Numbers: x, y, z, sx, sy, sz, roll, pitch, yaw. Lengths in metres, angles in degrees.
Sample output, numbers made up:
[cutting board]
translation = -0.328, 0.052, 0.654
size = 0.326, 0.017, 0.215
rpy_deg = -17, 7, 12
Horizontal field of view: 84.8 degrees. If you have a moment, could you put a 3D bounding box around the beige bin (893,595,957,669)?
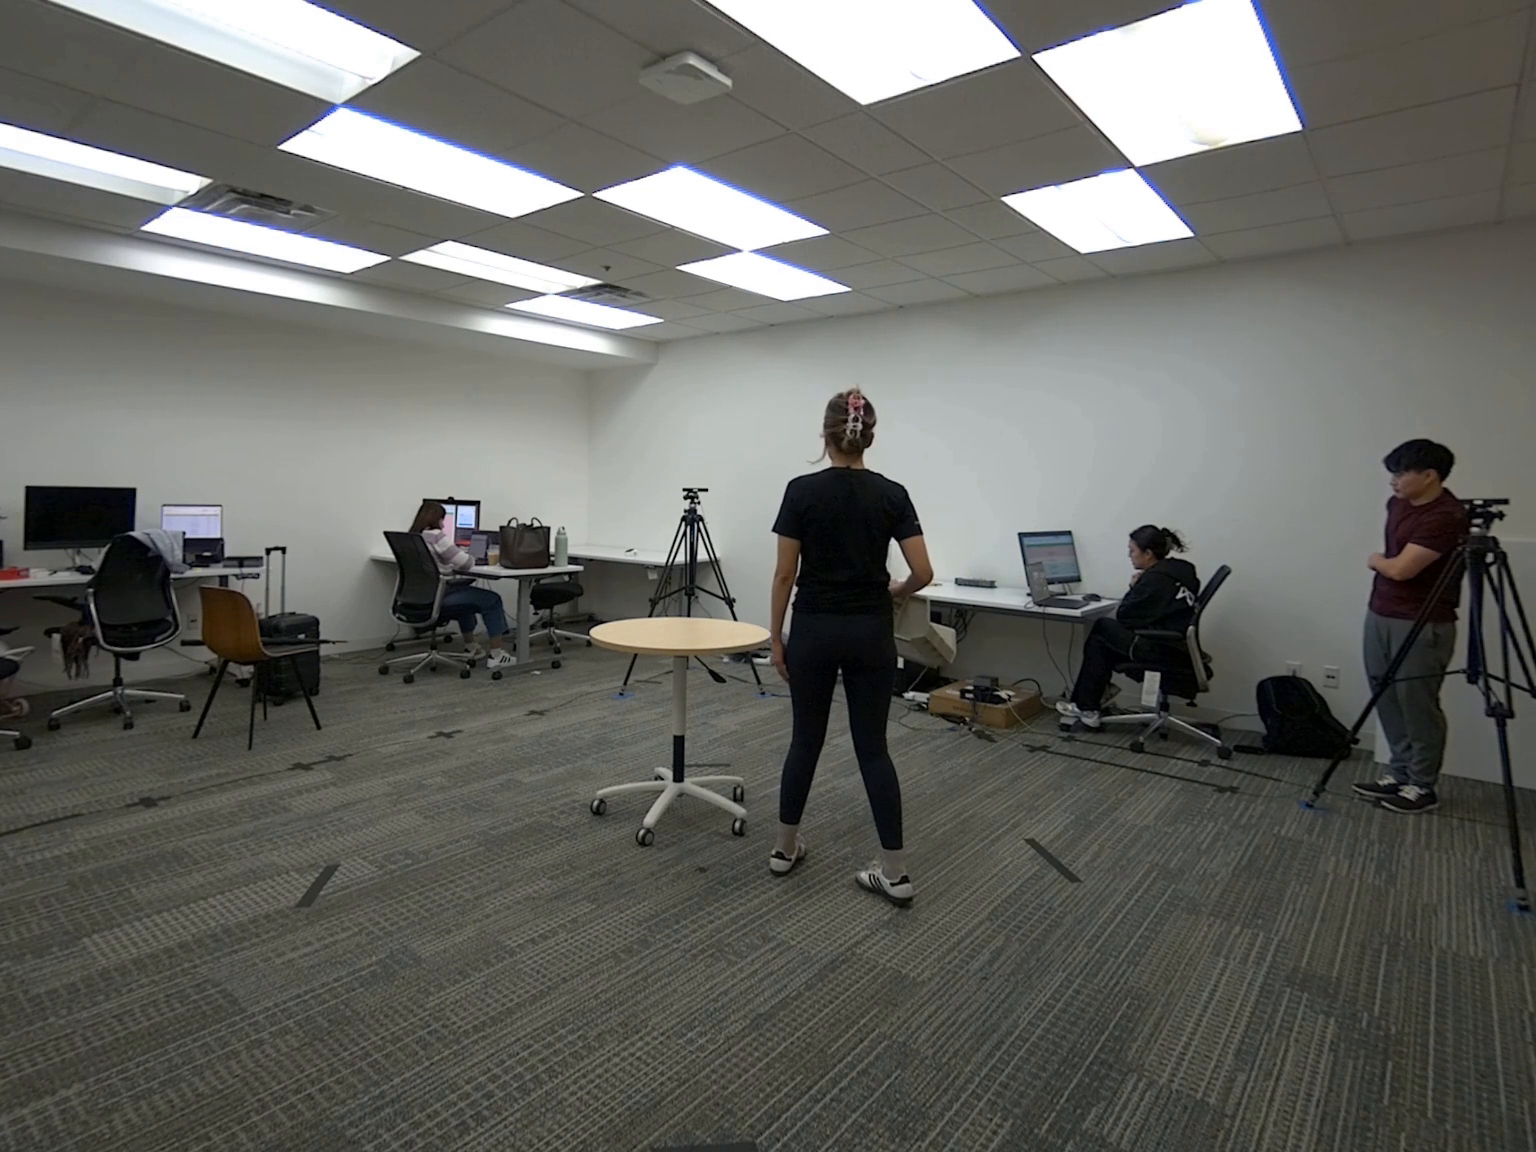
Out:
[beige bin]
translation = 0.502, 0.187, 3.354
size = 0.390, 0.190, 0.405
rpy_deg = 15, -12, 32
